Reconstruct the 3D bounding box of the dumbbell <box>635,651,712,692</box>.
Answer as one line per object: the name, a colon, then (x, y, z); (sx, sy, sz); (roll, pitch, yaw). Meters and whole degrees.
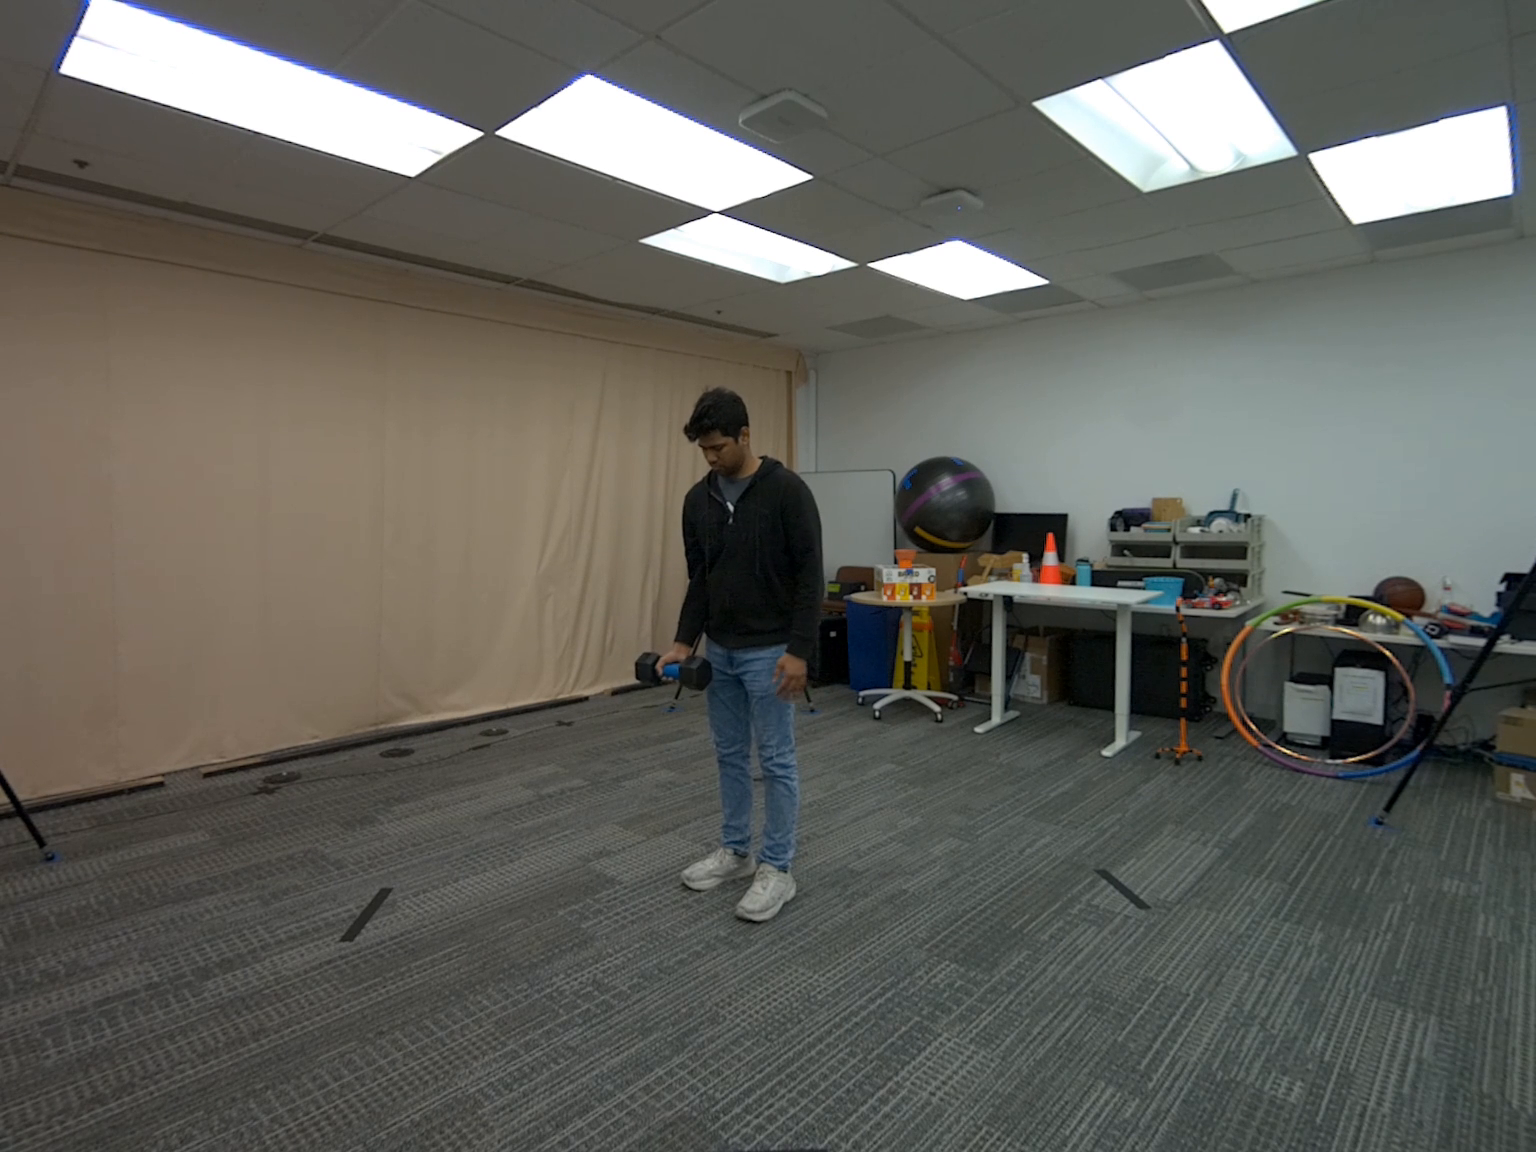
dumbbell: (-0.342, 0.339, 3.009); (0.303, 0.123, 0.105); (0, 2, 37)
